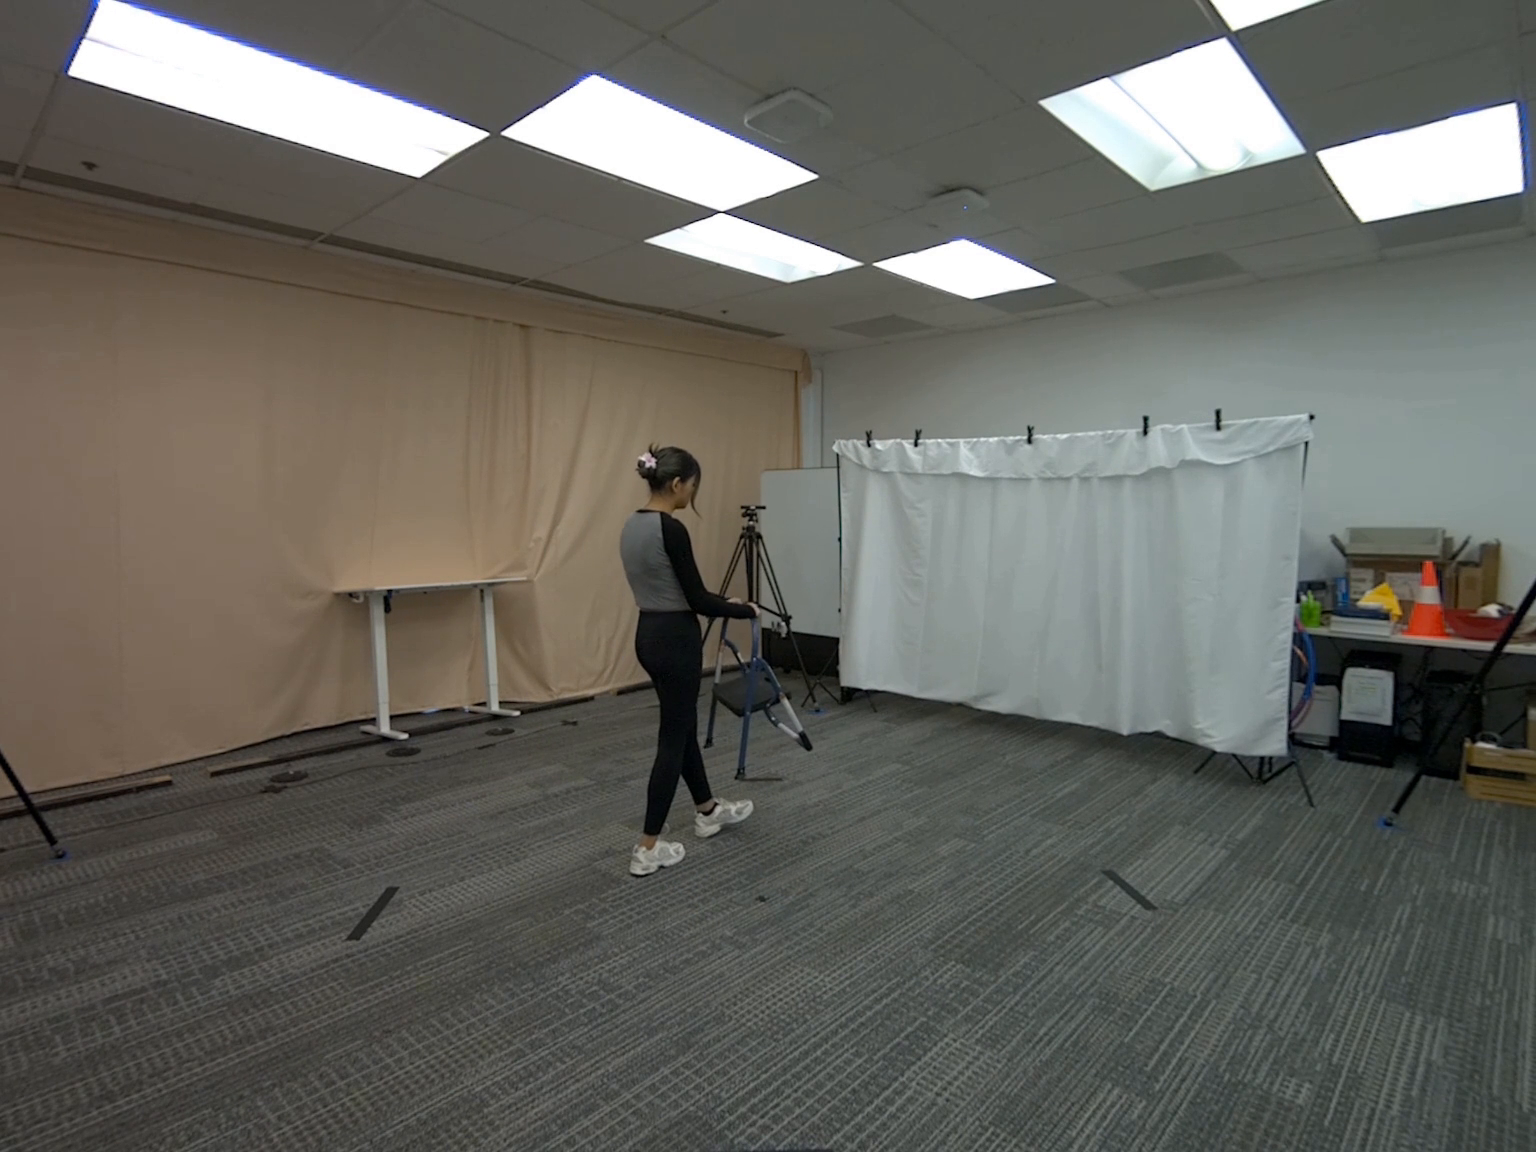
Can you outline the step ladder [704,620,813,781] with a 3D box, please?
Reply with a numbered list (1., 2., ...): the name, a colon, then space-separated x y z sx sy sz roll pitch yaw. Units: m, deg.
1. step ladder: -0.110 0.443 3.502 0.344 0.600 0.441 -17 12 -19
